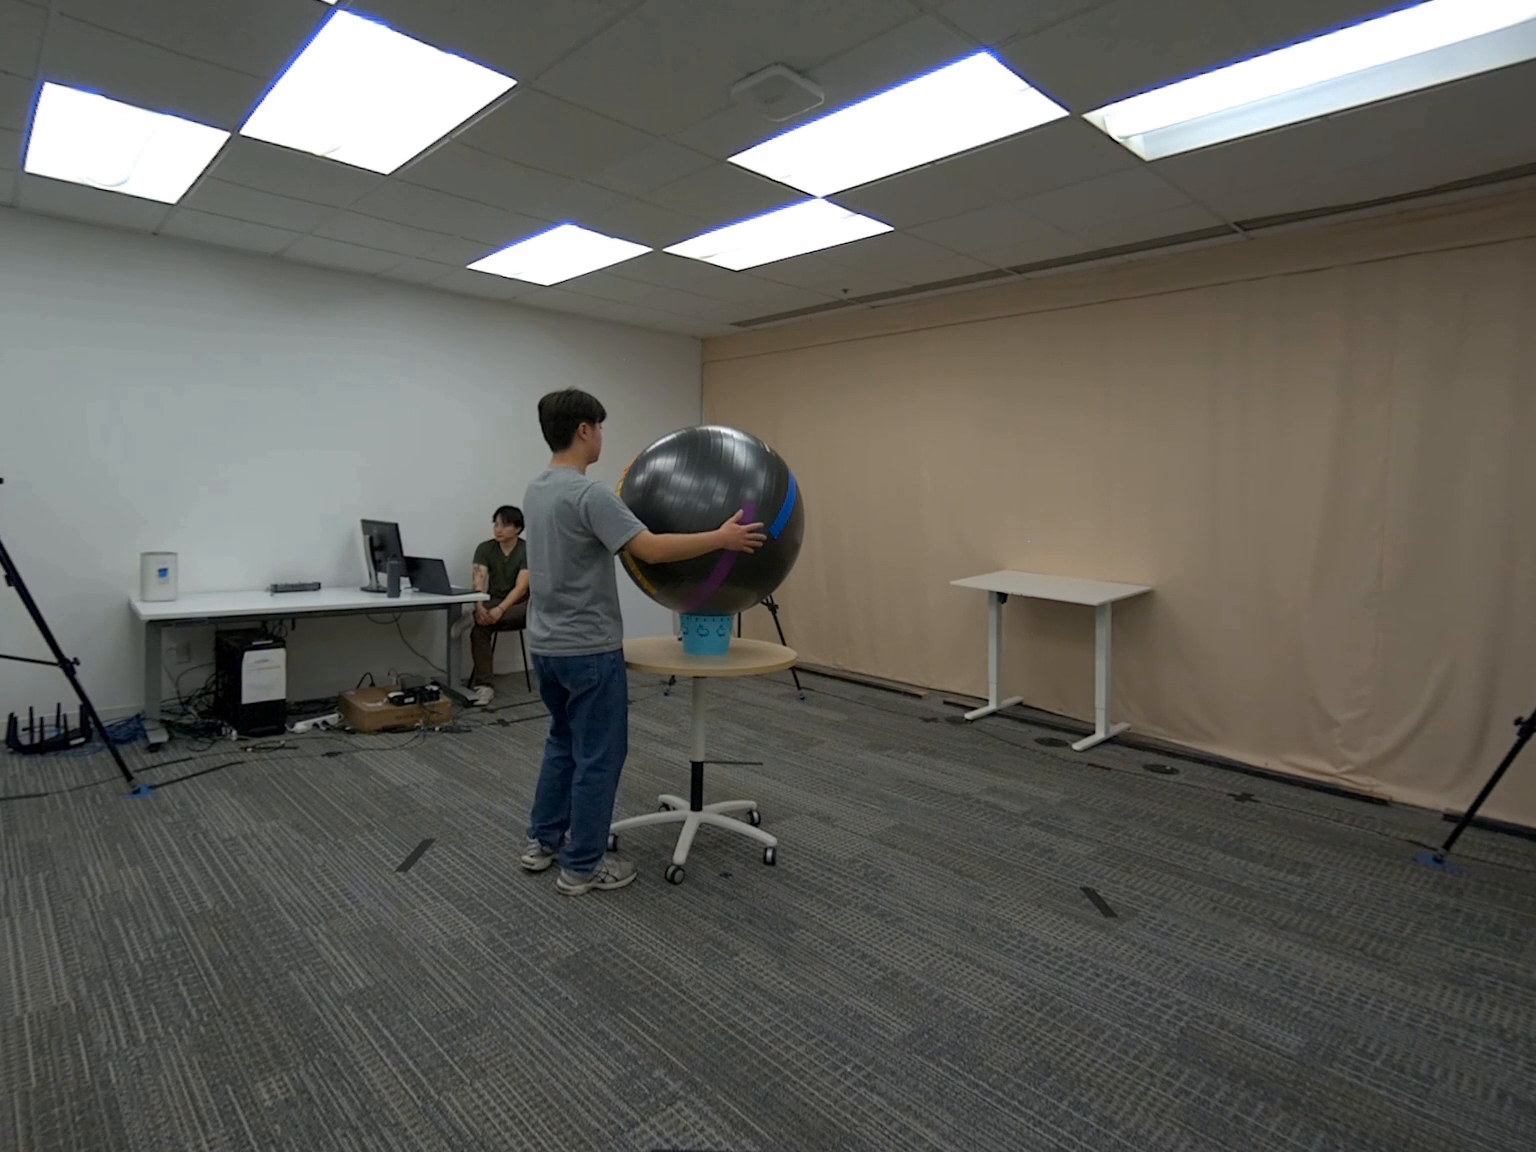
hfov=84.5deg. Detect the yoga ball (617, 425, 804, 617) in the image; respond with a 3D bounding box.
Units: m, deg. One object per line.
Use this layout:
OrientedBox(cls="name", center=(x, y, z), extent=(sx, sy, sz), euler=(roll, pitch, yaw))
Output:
OrientedBox(cls="yoga ball", center=(-0.239, -0.214, 3.331), extent=(0.757, 0.756, 0.761), euler=(1, 4, -1))
